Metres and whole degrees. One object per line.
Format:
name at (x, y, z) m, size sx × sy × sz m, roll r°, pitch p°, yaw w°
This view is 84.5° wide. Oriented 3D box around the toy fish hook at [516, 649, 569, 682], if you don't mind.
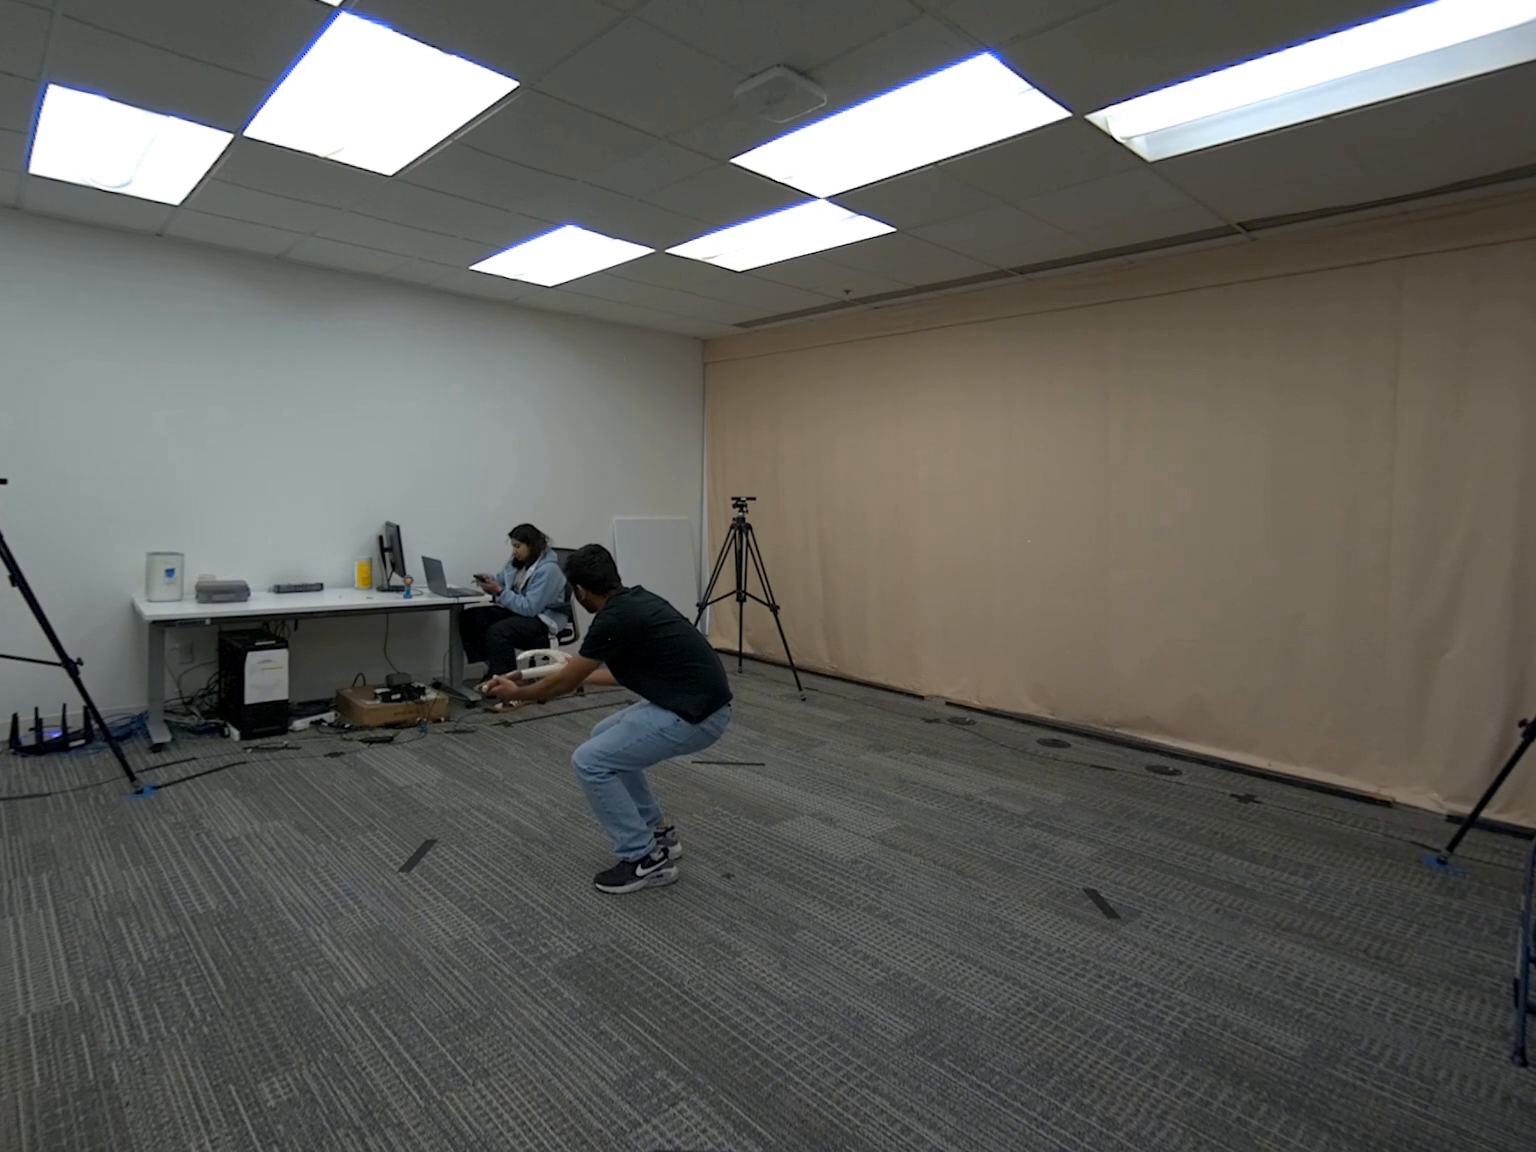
toy fish hook at (-1.002, 0.386, 3.435) m, size 0.230 × 0.048 × 0.498 m, roll 14°, pitch 15°, yaw 30°
